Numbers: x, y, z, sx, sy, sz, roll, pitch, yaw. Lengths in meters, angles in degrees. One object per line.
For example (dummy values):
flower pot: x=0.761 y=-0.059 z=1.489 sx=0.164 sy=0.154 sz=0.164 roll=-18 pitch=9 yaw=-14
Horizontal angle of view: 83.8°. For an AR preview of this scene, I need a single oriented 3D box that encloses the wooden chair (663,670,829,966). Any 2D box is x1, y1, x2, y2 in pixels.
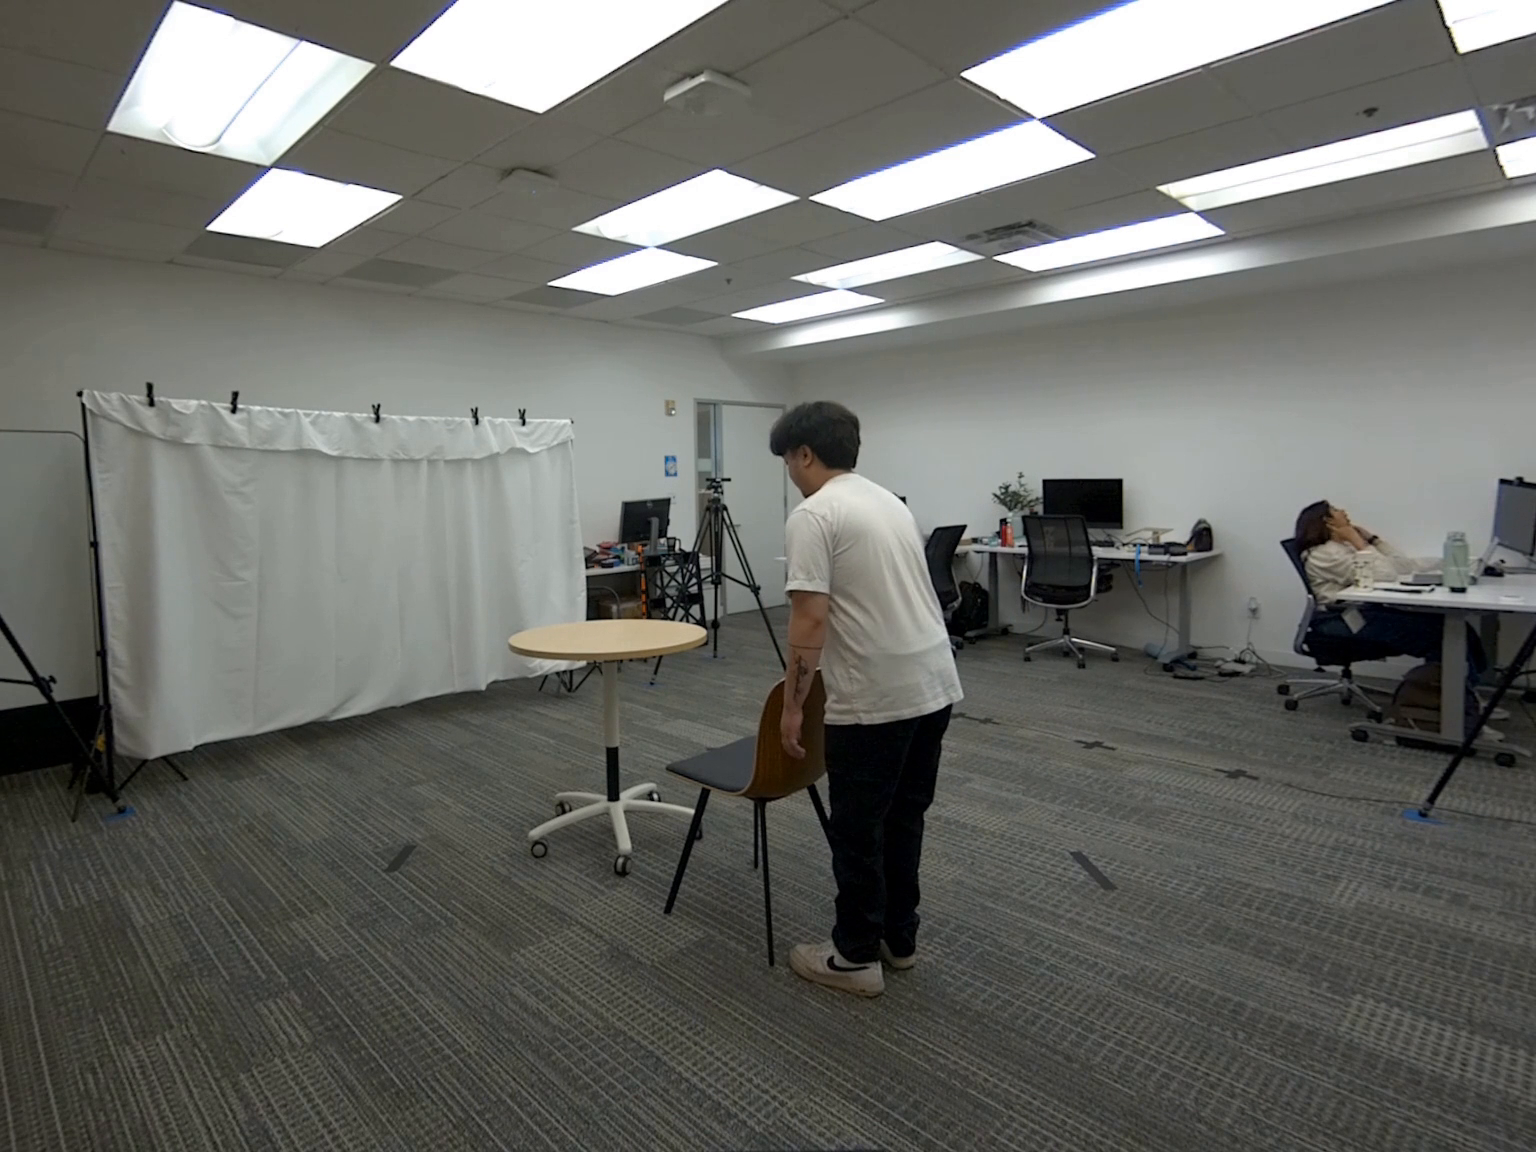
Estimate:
wooden chair: x=-0.029 y=0.657 z=2.735 sx=0.540 sy=0.871 sz=0.466 roll=9 pitch=10 yaw=42
